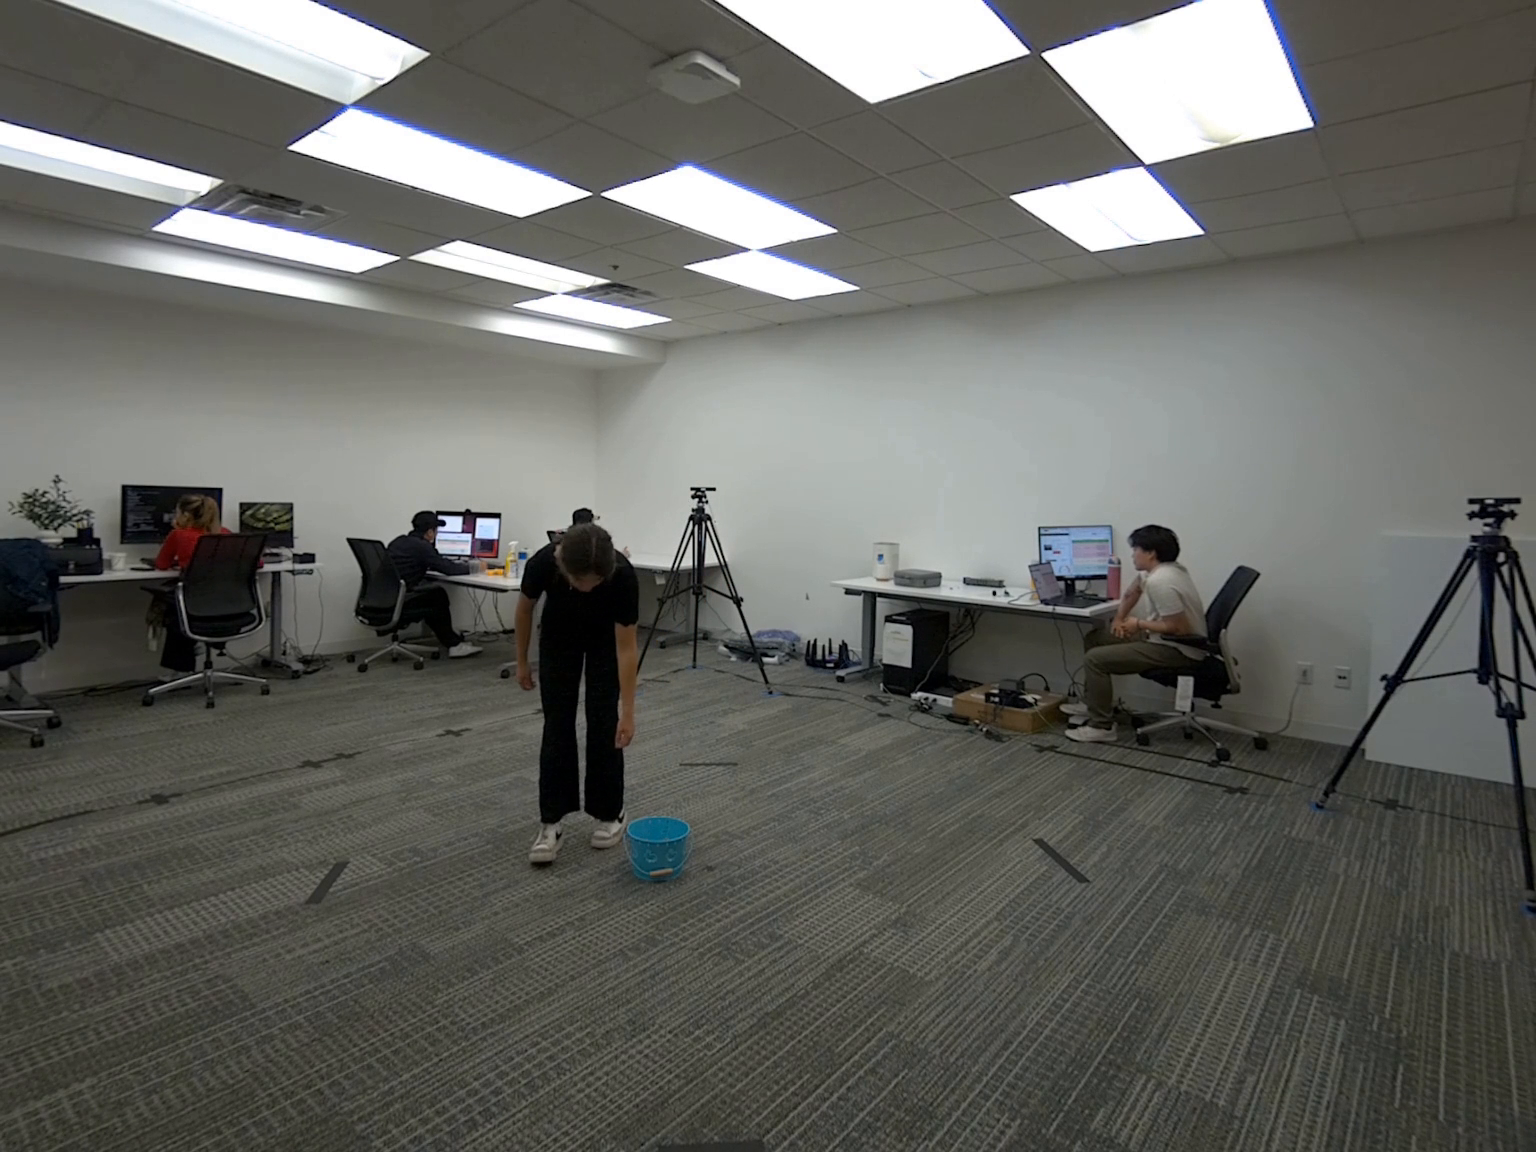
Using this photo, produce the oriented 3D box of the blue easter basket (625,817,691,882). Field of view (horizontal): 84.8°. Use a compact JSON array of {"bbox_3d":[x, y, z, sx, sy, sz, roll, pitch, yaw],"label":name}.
[{"bbox_3d":[-0.408,0.983,3.081,0.243,0.155,0.245,1,5,-2],"label":"blue easter basket"}]
